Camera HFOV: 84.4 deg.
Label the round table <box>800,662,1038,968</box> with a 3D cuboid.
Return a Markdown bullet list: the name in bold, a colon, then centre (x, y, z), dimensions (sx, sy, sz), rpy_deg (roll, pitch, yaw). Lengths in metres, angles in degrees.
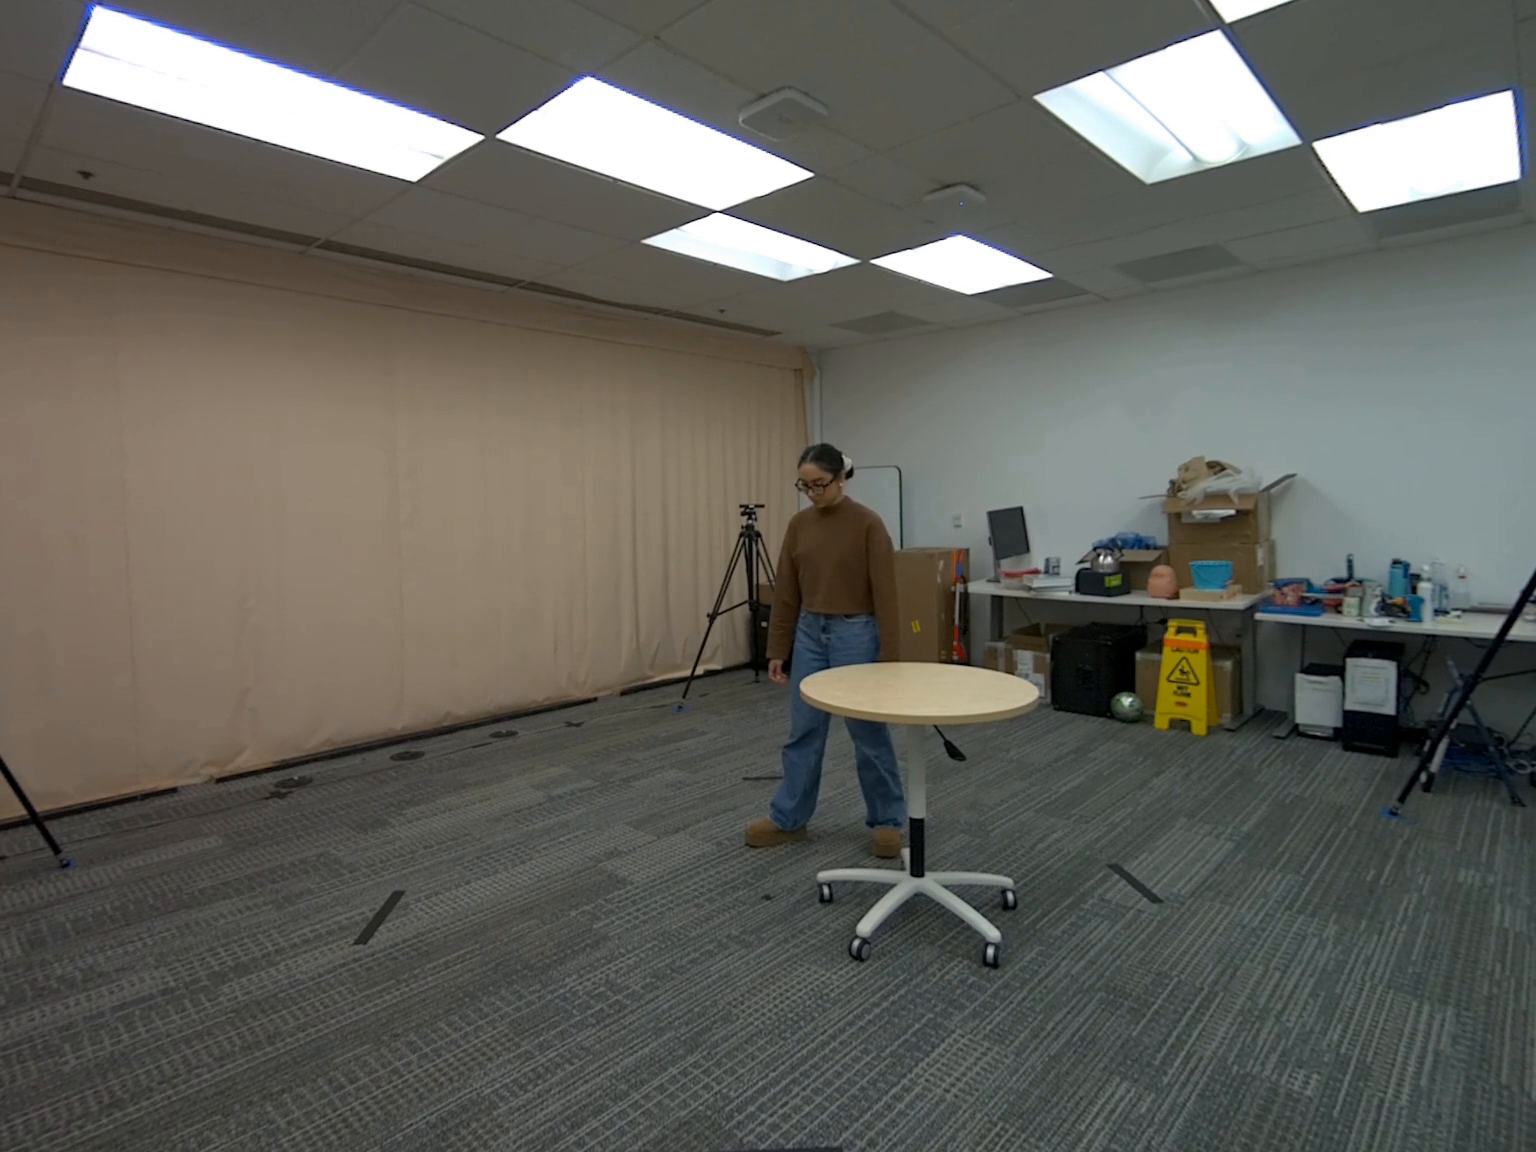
- **round table**: centre (0.501, 0.753, 2.813), dimensions (0.763, 0.792, 0.767), rpy_deg (-1, 4, -2)
